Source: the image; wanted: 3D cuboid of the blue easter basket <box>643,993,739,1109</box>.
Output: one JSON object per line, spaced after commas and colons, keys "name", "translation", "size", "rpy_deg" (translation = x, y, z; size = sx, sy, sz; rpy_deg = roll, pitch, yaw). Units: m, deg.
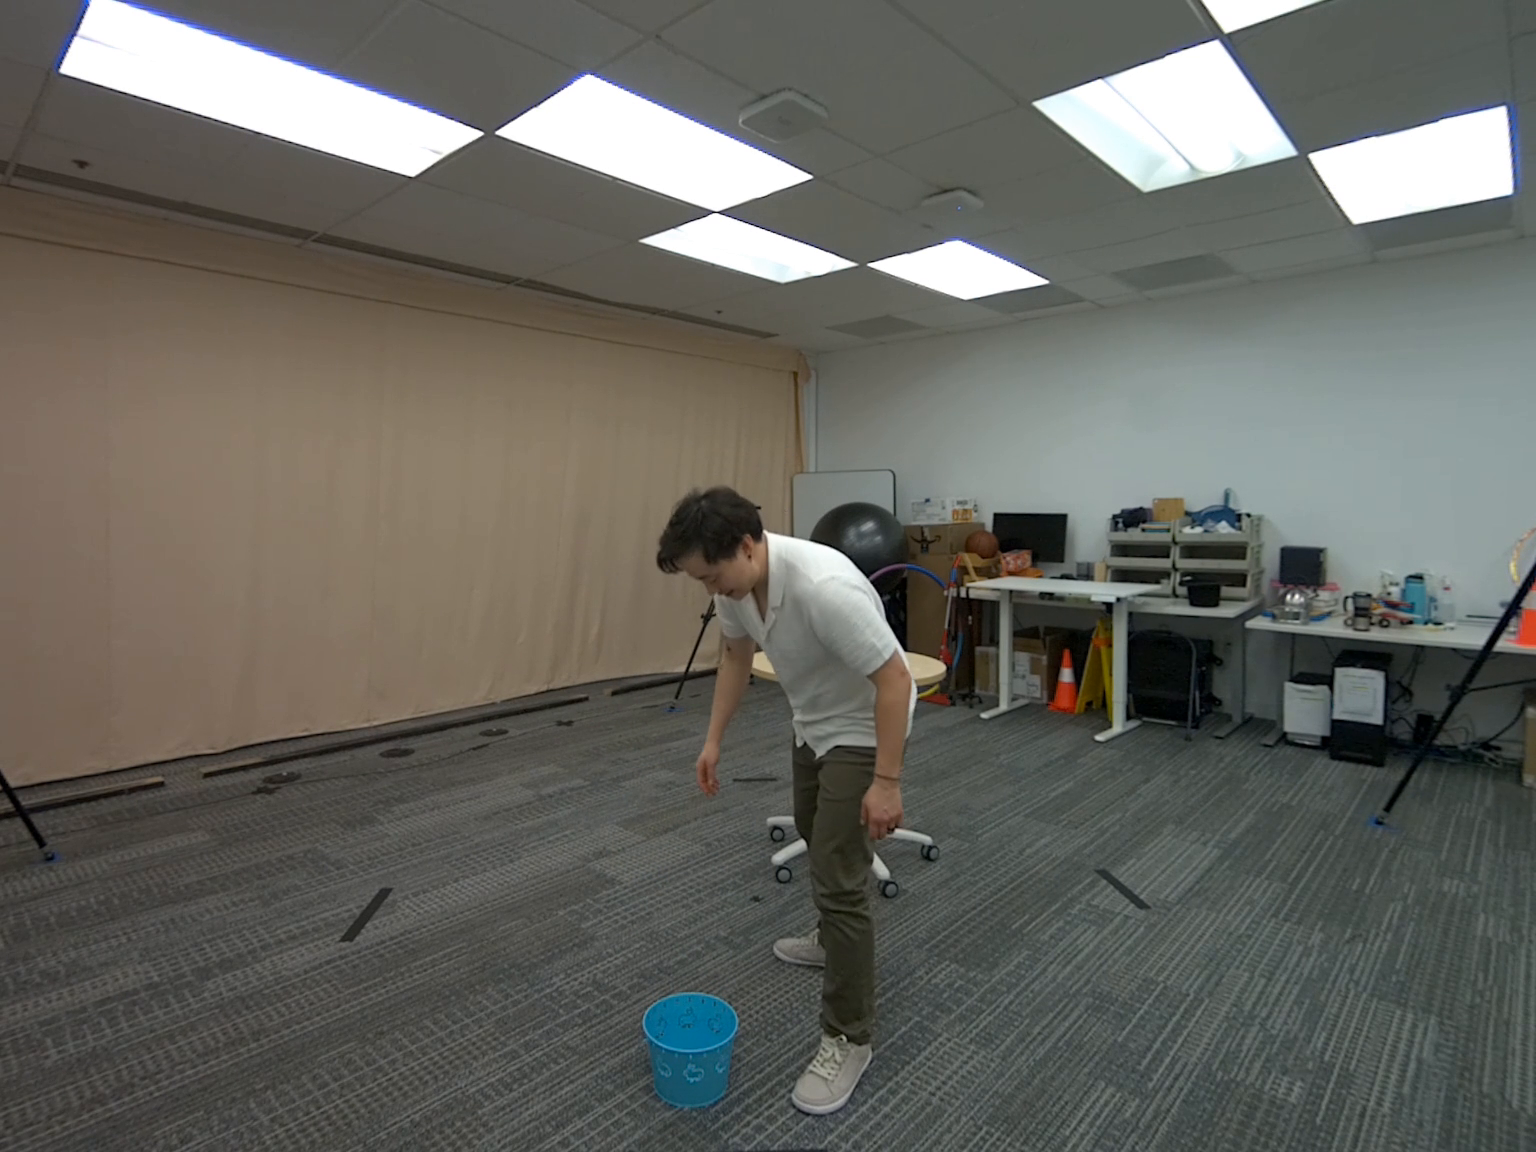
{"name": "blue easter basket", "translation": [-0.182, 1.152, 2.031], "size": [0.243, 0.155, 0.244], "rpy_deg": [0, 3, -2]}
